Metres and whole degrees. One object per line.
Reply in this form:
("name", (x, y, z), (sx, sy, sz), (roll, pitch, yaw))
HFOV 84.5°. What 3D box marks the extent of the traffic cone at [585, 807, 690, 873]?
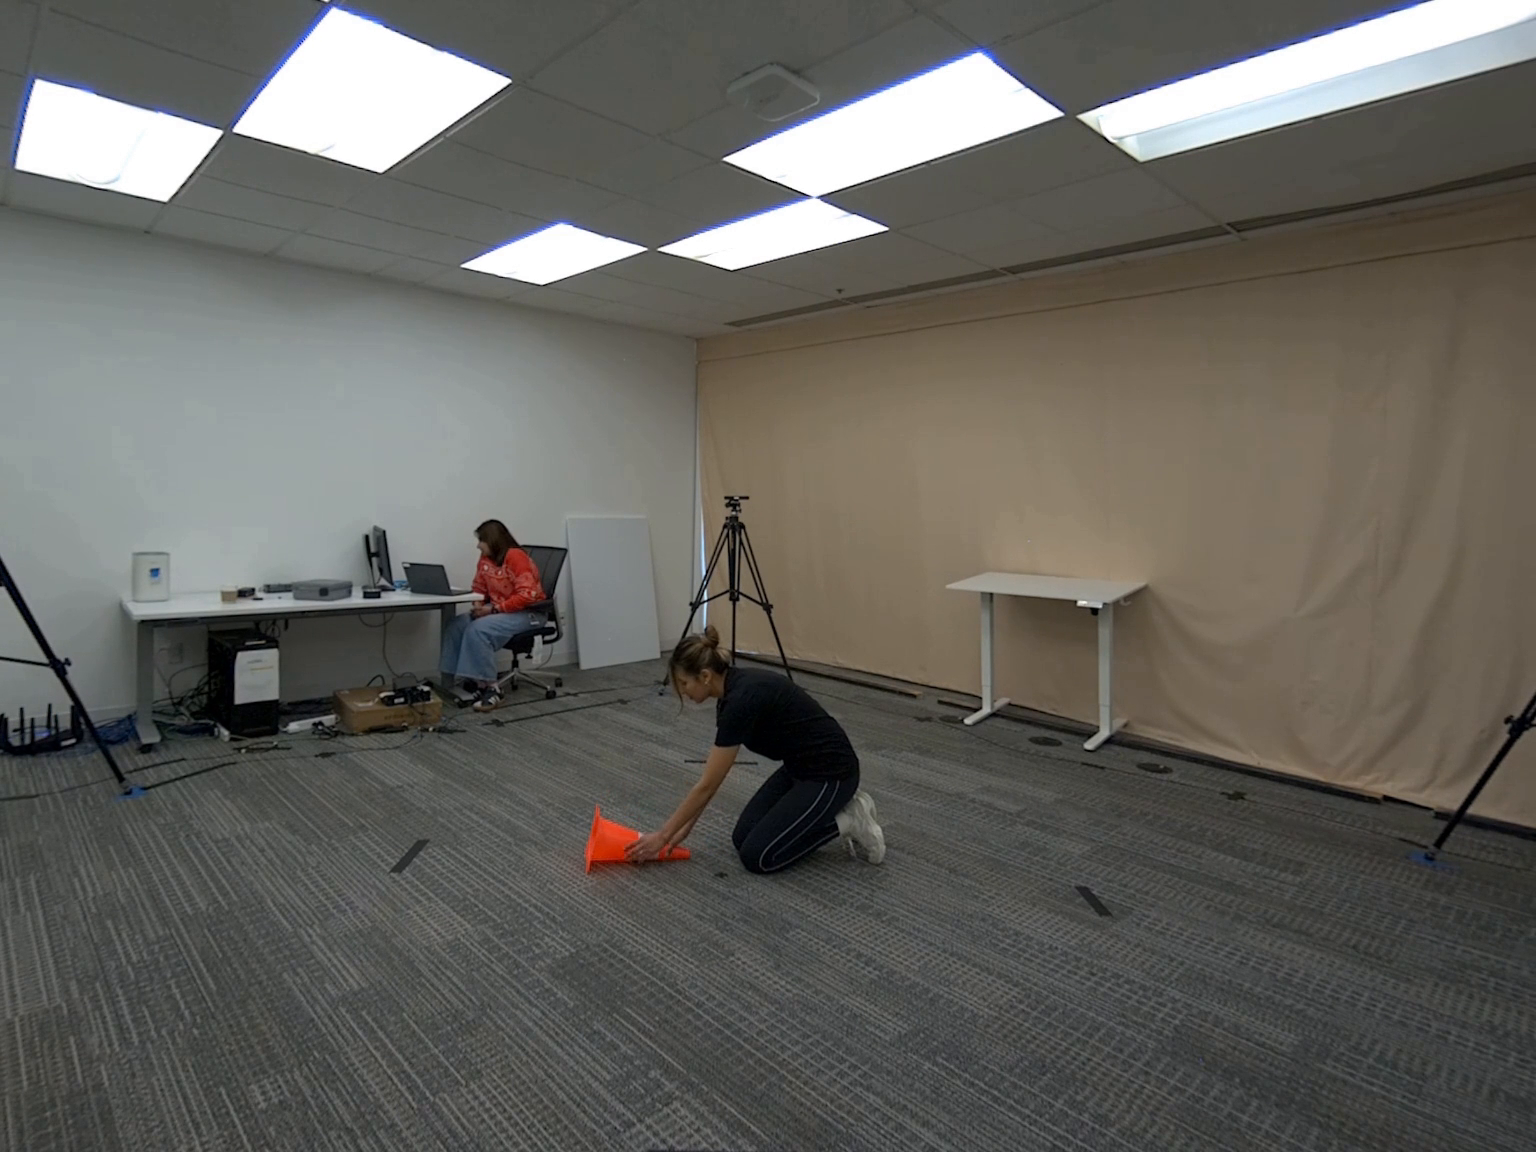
("traffic cone", (-0.489, 1.038, 3.218), (0.379, 0.203, 0.207), (15, 0, -12))
